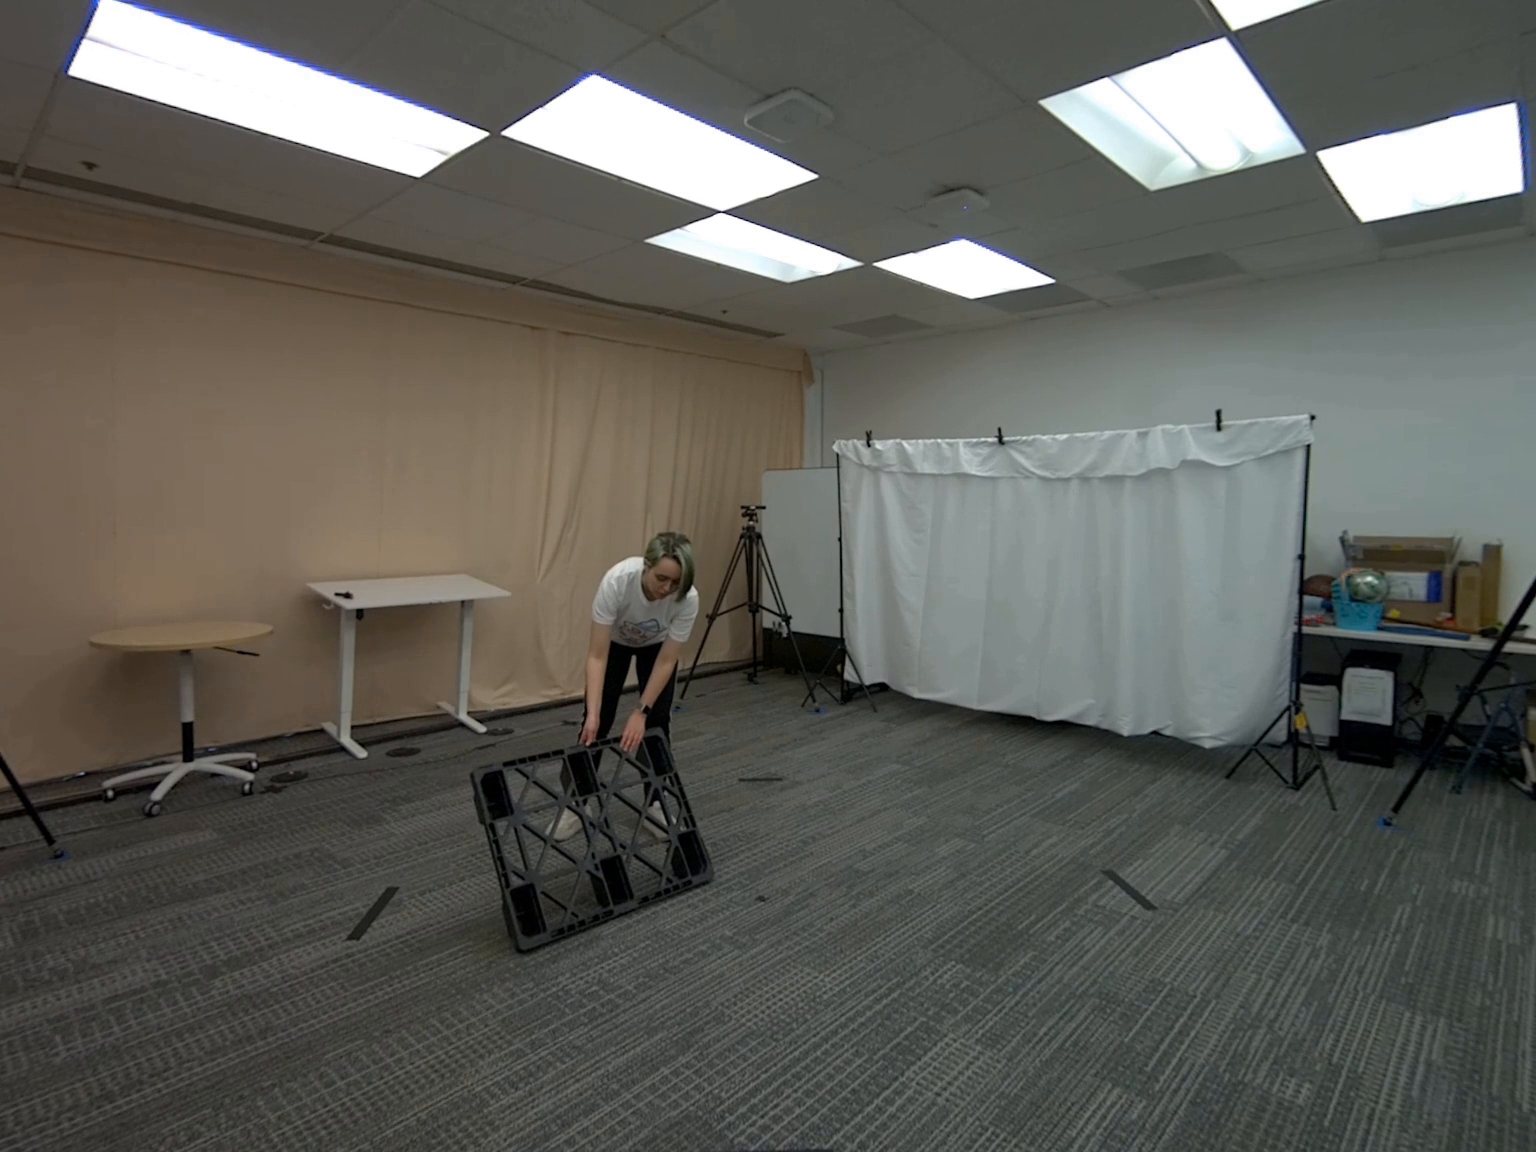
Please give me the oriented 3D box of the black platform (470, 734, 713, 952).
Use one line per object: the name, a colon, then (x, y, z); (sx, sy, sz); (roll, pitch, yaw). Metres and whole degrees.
black platform: (-0.625, 0.913, 3.015); (0.781, 0.617, 0.145); (-4, -28, -41)
